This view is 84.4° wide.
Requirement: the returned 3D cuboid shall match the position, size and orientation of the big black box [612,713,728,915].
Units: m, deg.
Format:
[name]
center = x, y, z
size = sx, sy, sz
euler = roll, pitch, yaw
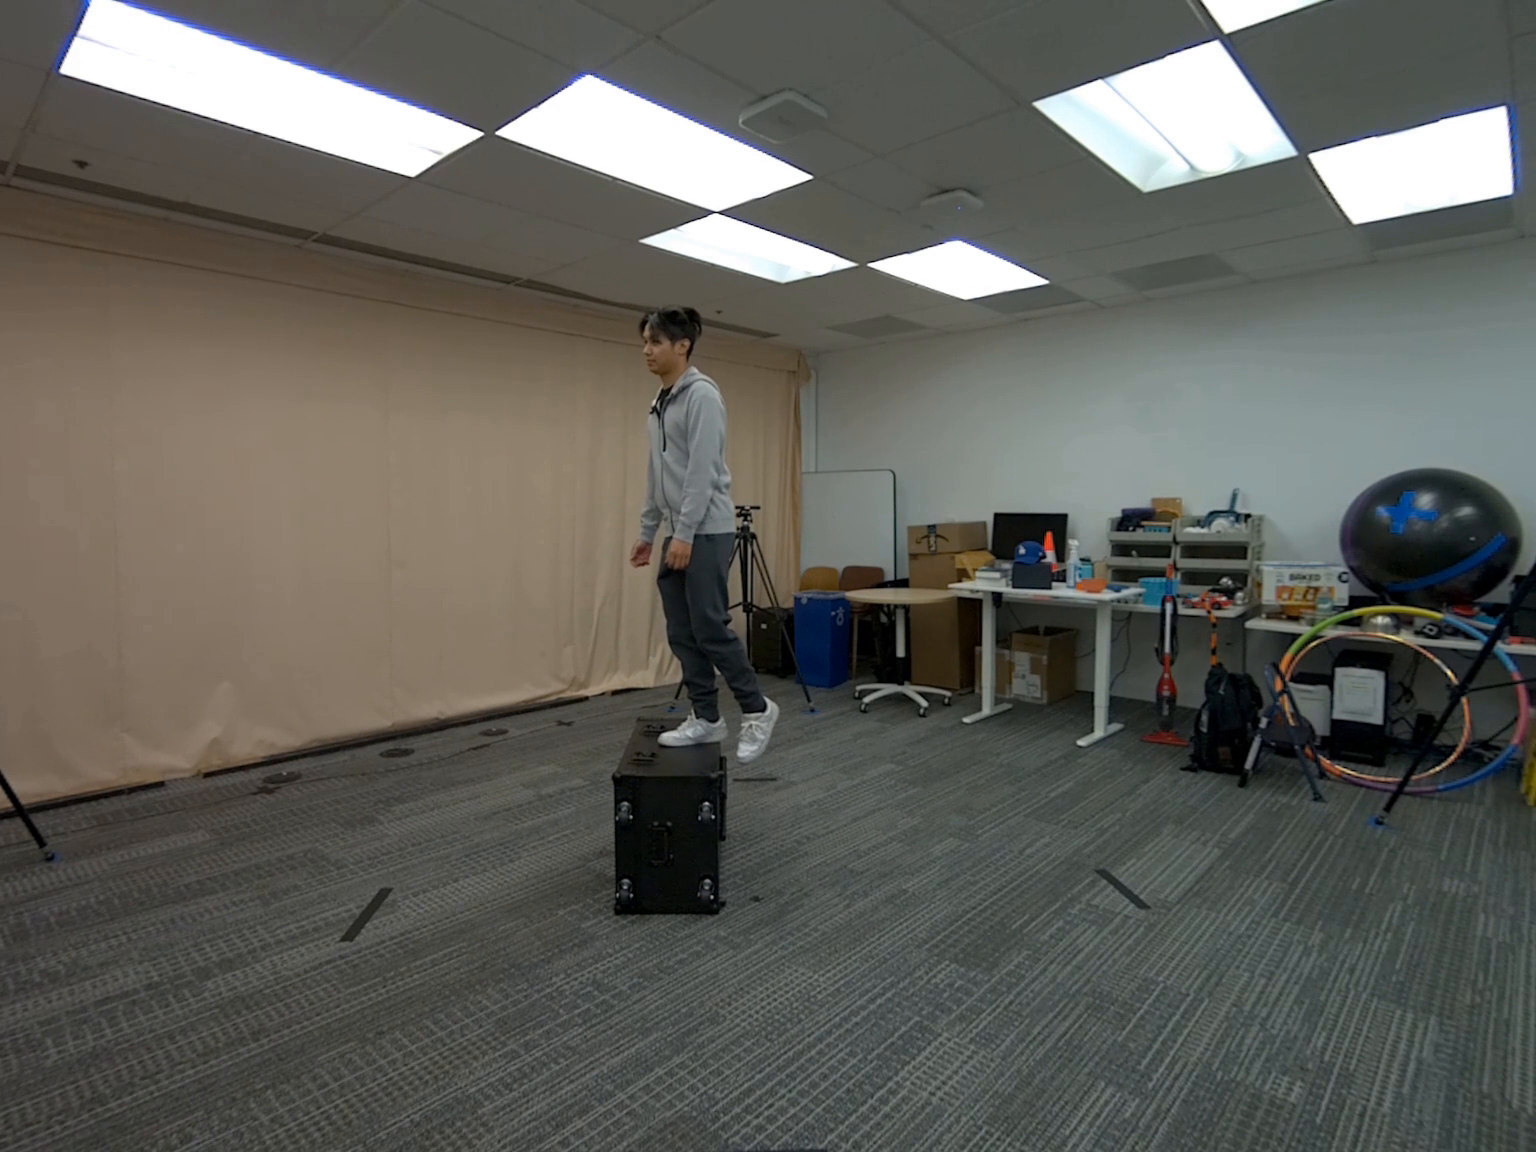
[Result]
[big black box]
center = -0.348, 0.884, 3.211
size = 0.396, 0.520, 0.863
euler = 0, 4, -1
